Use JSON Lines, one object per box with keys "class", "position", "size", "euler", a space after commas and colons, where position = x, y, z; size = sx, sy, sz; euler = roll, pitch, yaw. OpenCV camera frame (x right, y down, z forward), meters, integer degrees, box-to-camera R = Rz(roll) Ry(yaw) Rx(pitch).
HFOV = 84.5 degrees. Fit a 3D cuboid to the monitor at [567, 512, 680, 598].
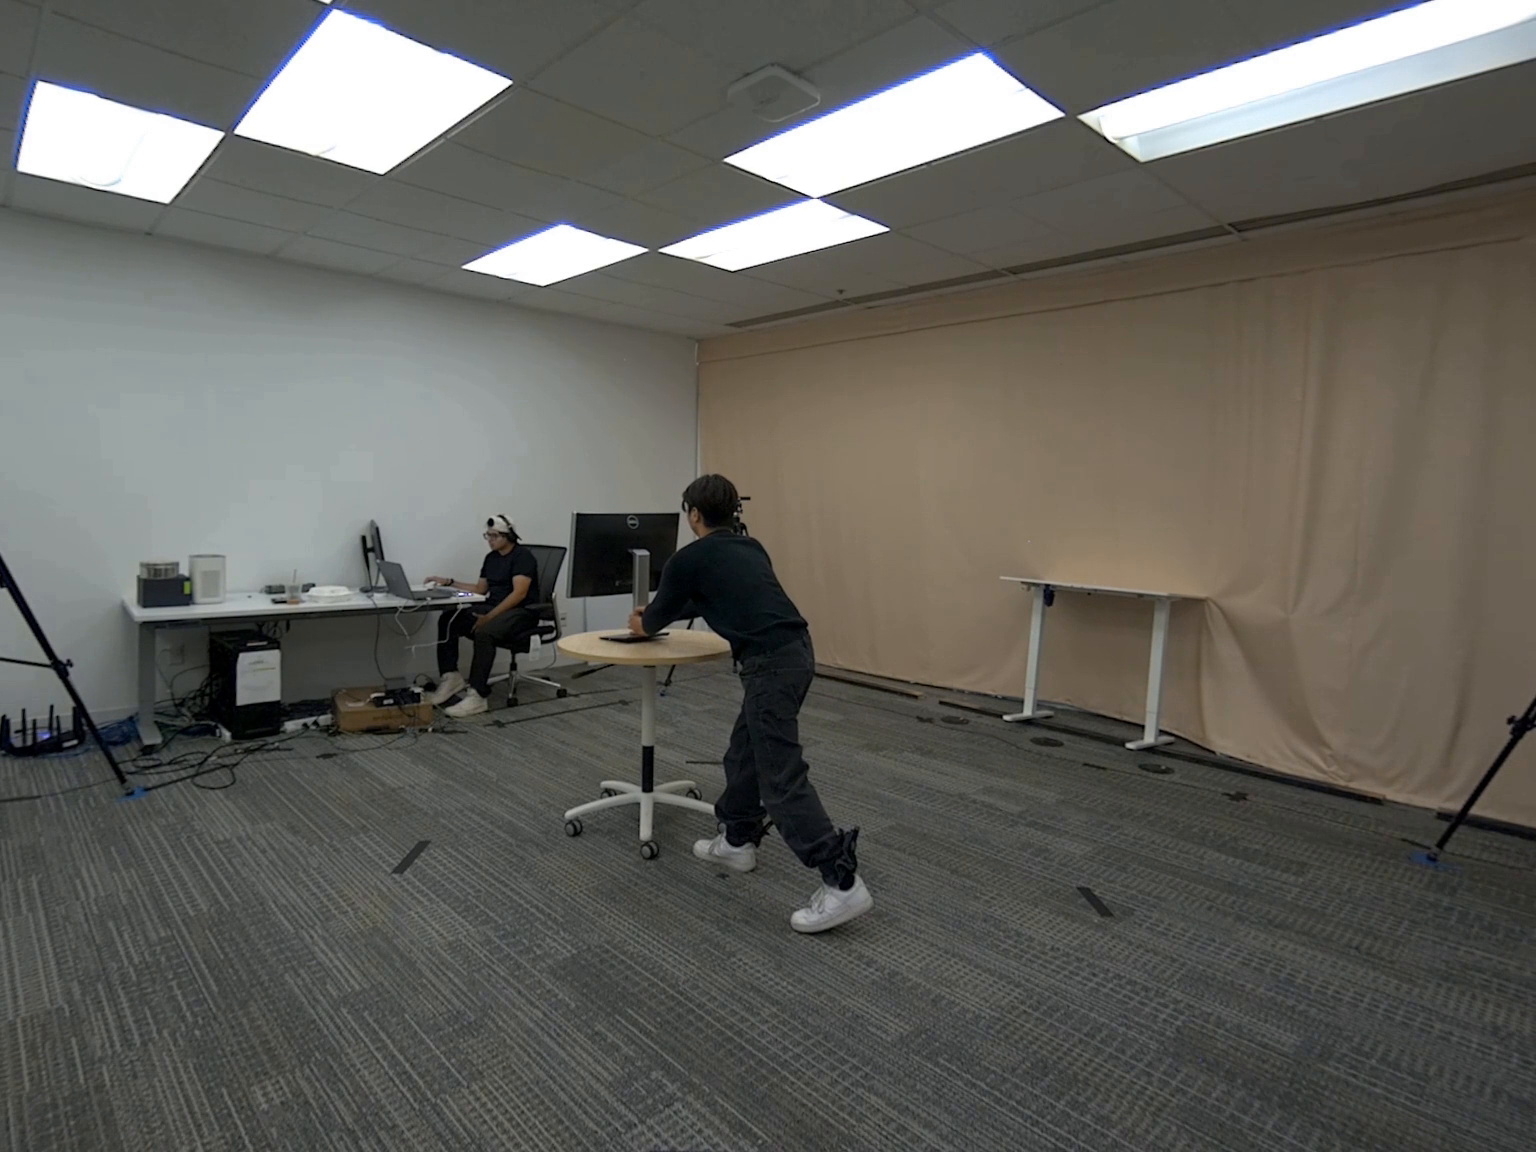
{"class": "monitor", "position": [-0.599, -0.005, 3.626], "size": [0.191, 0.523, 0.527], "euler": [-3, 0, 43]}
